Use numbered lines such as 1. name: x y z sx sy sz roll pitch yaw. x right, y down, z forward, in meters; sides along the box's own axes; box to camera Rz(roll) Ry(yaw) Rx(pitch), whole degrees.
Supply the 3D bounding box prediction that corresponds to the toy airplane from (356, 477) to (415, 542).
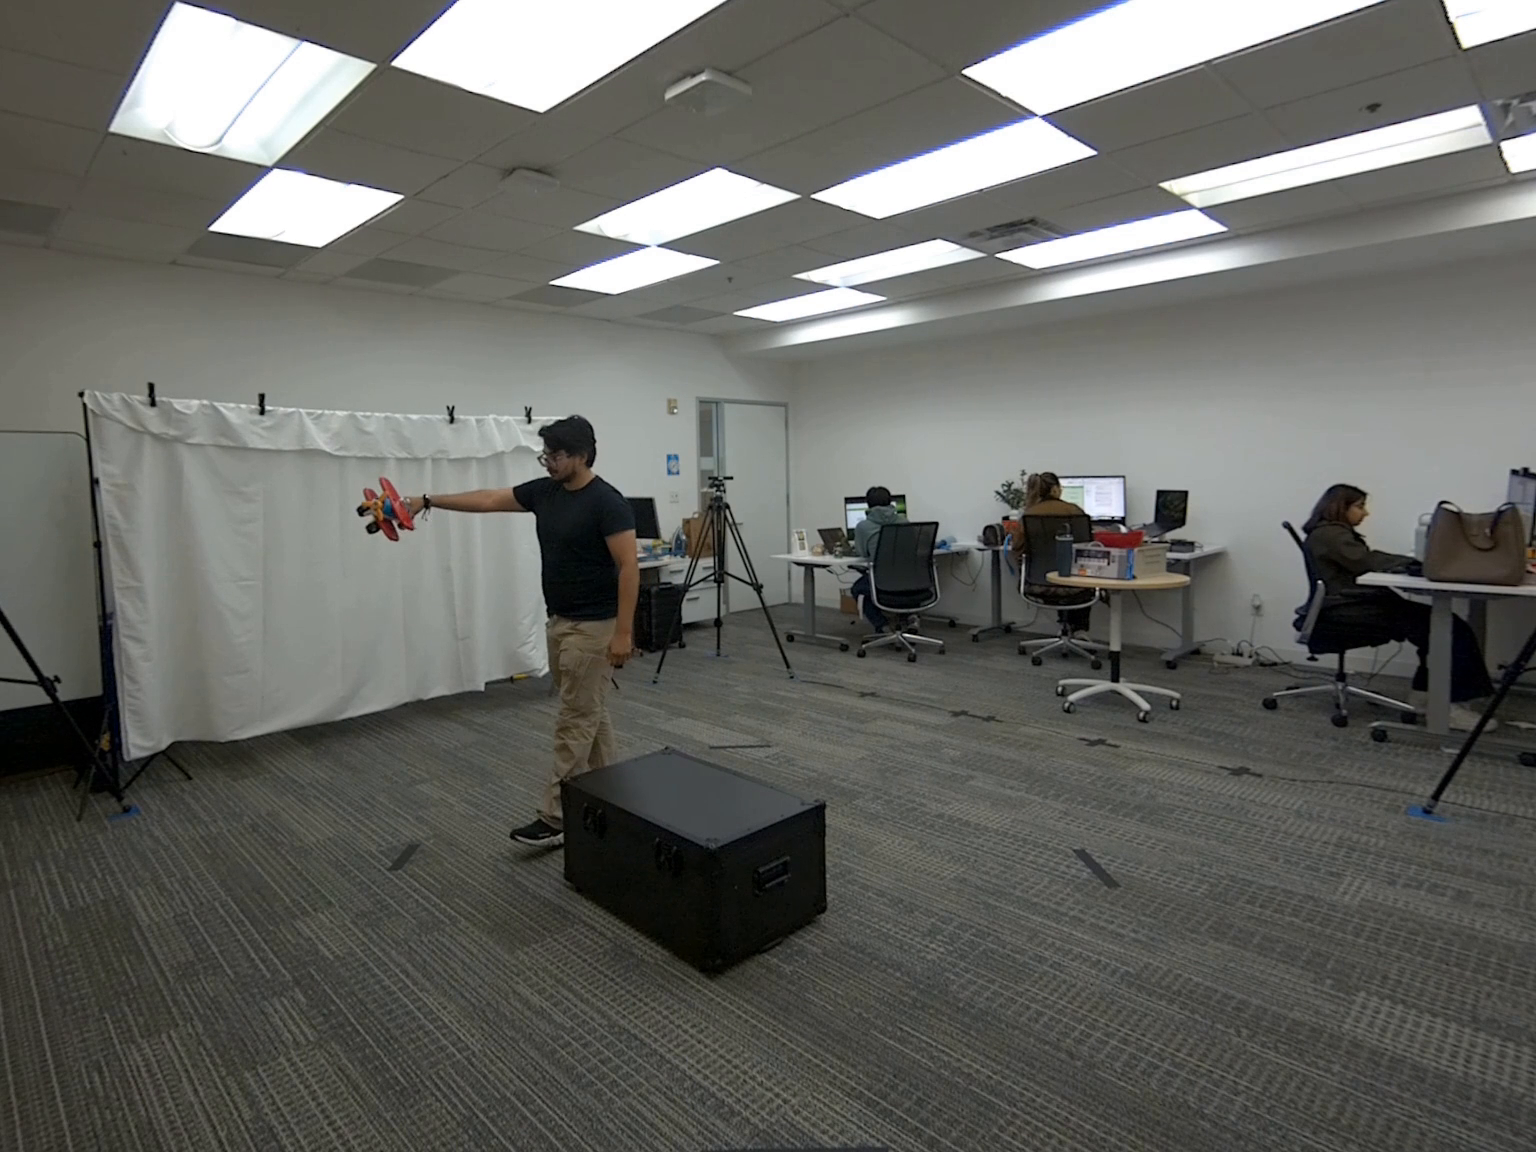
1. toy airplane: -1.512 -0.271 3.421 0.157 0.246 0.263 -37 16 17
